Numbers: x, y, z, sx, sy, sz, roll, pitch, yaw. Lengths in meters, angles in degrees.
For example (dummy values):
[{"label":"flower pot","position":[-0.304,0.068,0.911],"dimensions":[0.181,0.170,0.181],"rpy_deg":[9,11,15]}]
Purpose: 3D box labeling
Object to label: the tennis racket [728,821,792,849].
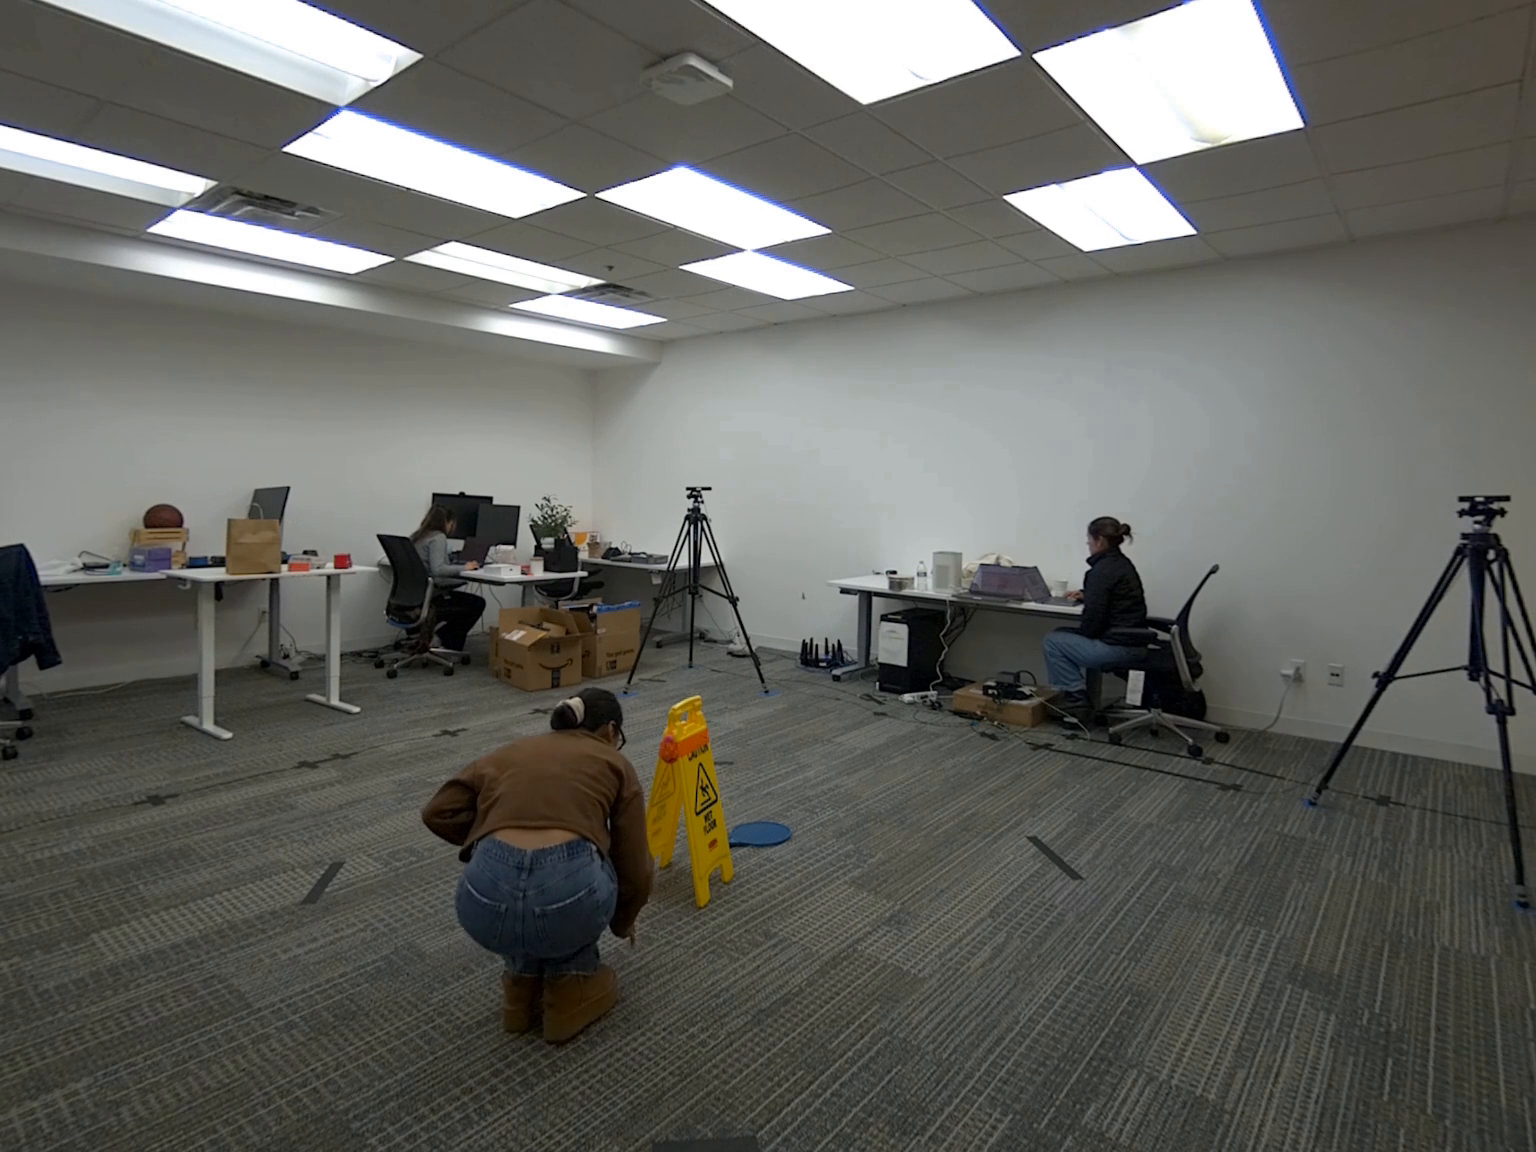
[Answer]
[{"label":"tennis racket","position":[-0.094,1.029,3.355],"dimensions":[0.419,0.031,0.221],"rpy_deg":[-2,7,-44]}]
